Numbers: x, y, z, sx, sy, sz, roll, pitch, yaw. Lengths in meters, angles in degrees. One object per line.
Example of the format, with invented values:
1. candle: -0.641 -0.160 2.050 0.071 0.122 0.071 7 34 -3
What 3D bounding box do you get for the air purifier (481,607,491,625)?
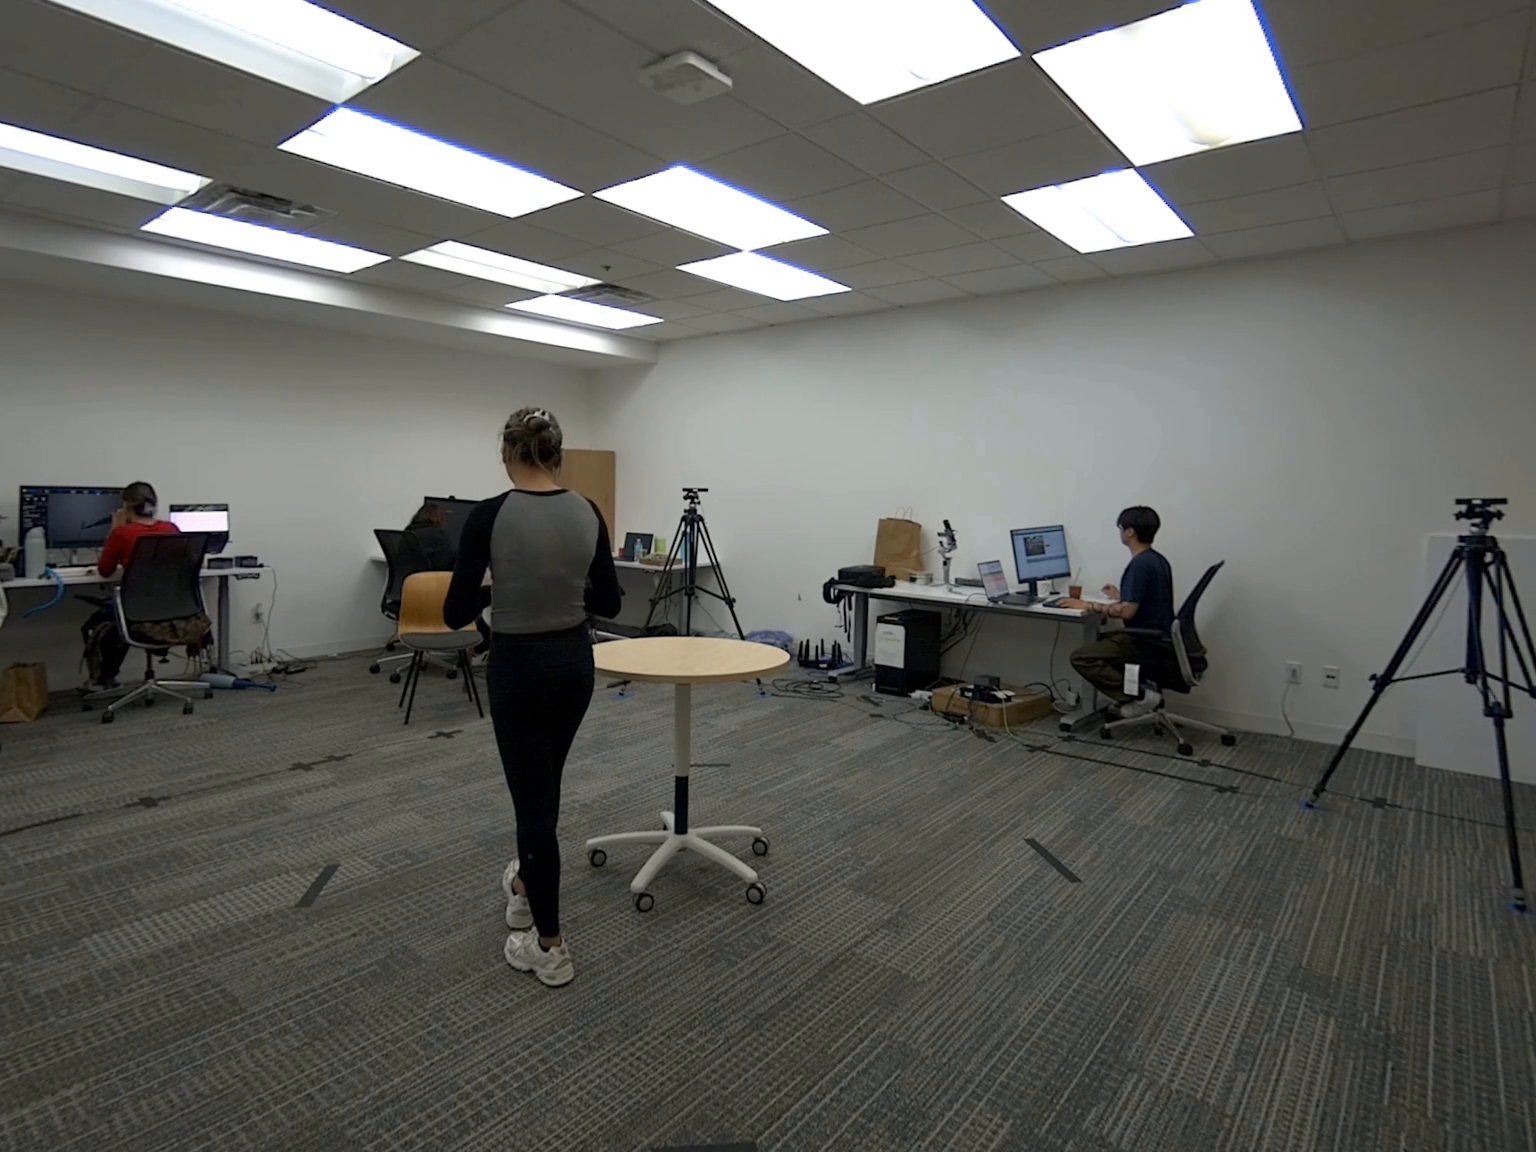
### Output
1. air purifier: -0.793 0.026 2.630 0.166 0.263 0.178 0 12 -30
